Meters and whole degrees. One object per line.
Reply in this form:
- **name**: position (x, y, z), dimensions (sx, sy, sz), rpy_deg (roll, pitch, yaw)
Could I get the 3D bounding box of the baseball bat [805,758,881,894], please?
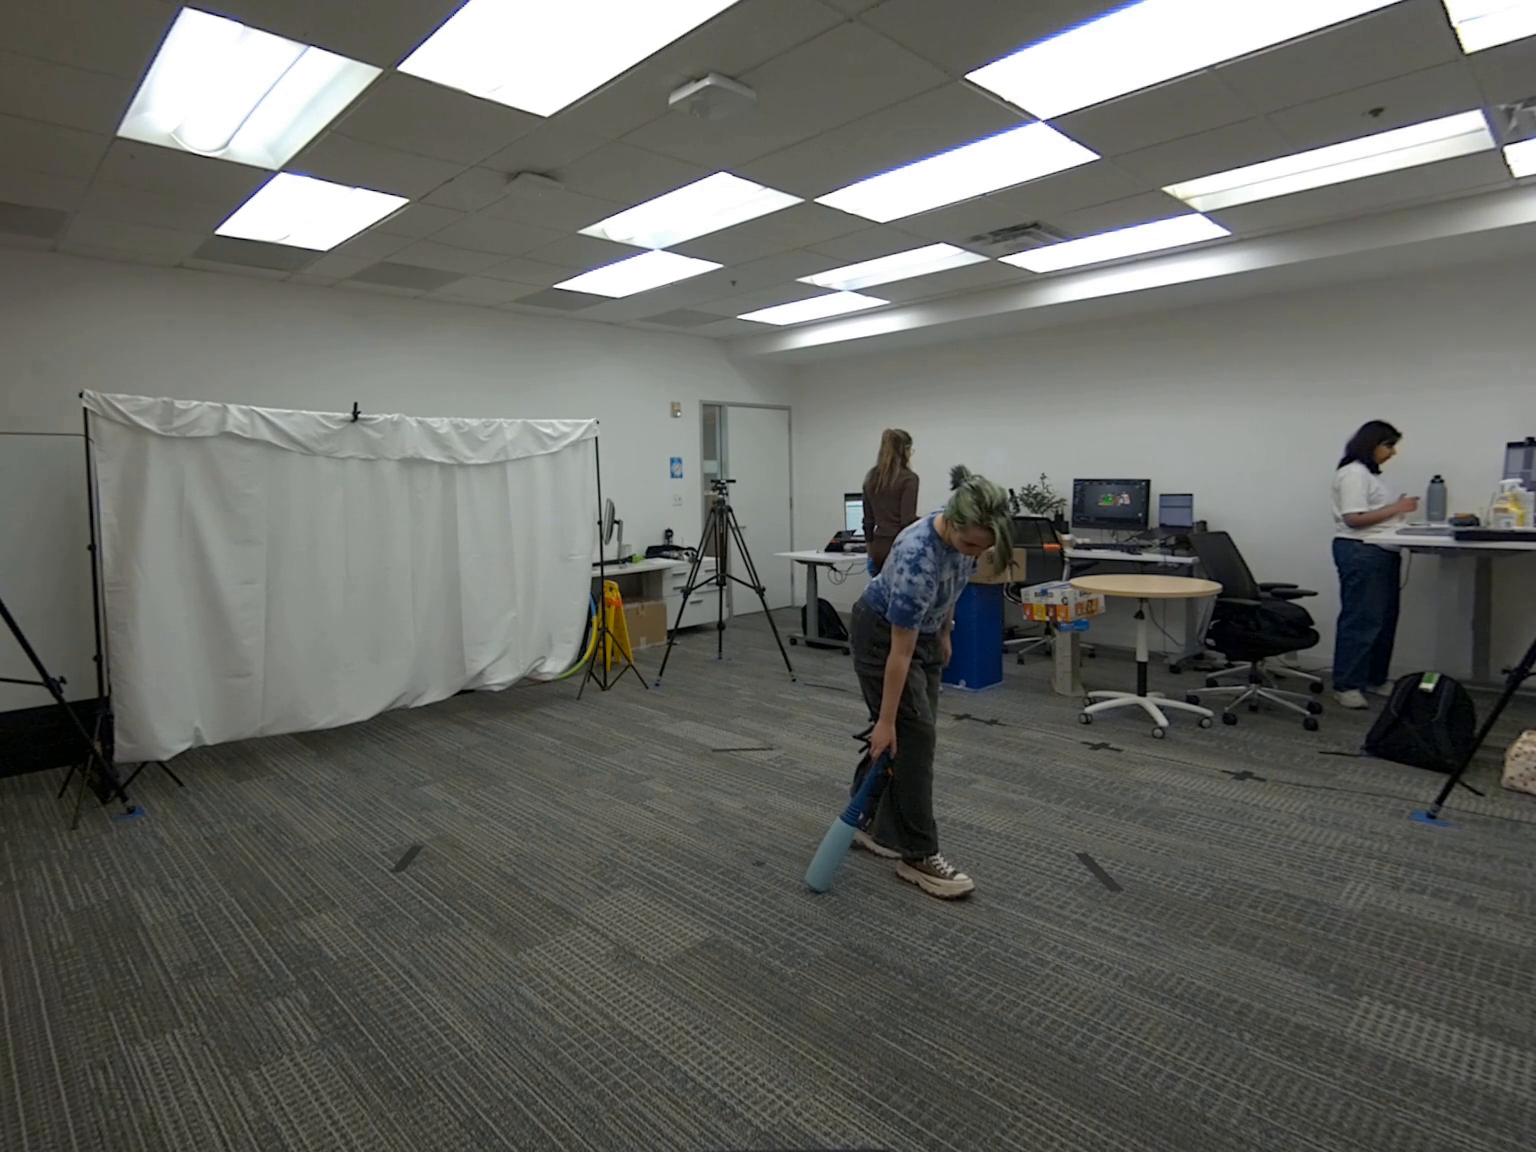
- **baseball bat**: position (0.288, 0.818, 2.876), dimensions (0.089, 0.542, 0.089), rpy_deg (26, 4, -4)
